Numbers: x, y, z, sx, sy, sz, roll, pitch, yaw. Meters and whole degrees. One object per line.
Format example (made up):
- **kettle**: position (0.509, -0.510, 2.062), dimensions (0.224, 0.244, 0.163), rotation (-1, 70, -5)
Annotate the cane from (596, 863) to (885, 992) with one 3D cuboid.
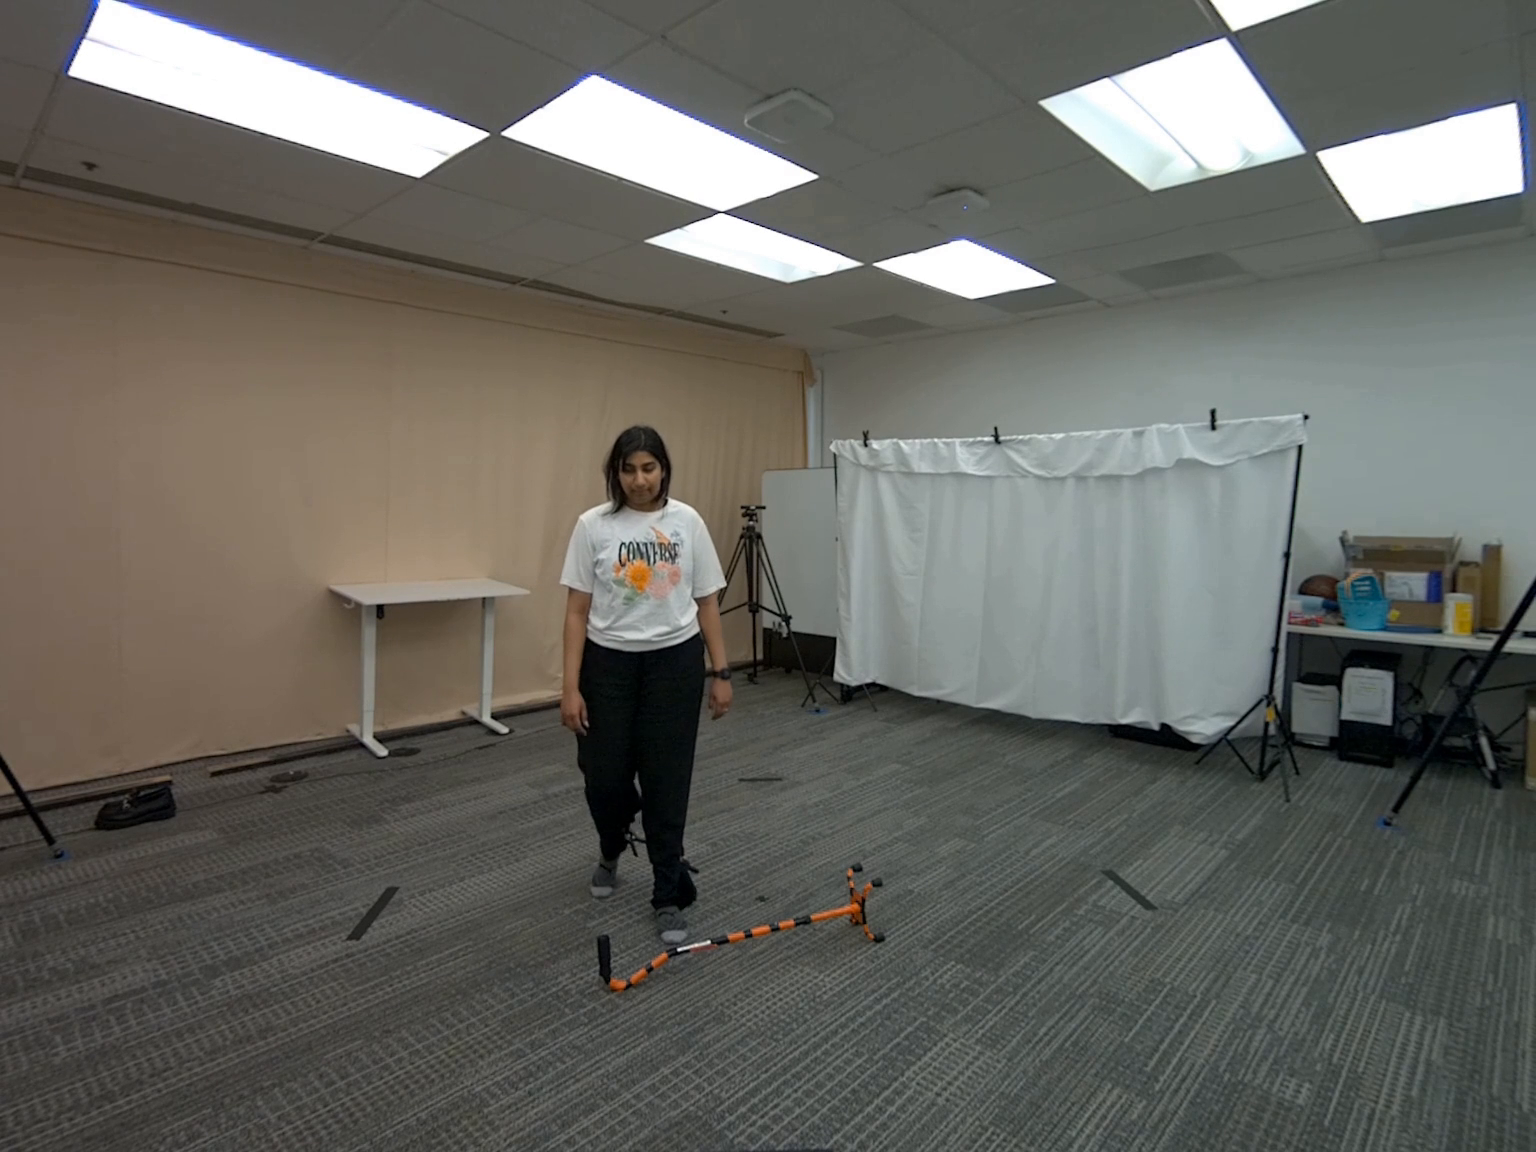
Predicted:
- **cane**: position (-0.065, 1.086, 2.584), dimensions (0.889, 0.205, 0.155), rotation (-5, 7, -22)
